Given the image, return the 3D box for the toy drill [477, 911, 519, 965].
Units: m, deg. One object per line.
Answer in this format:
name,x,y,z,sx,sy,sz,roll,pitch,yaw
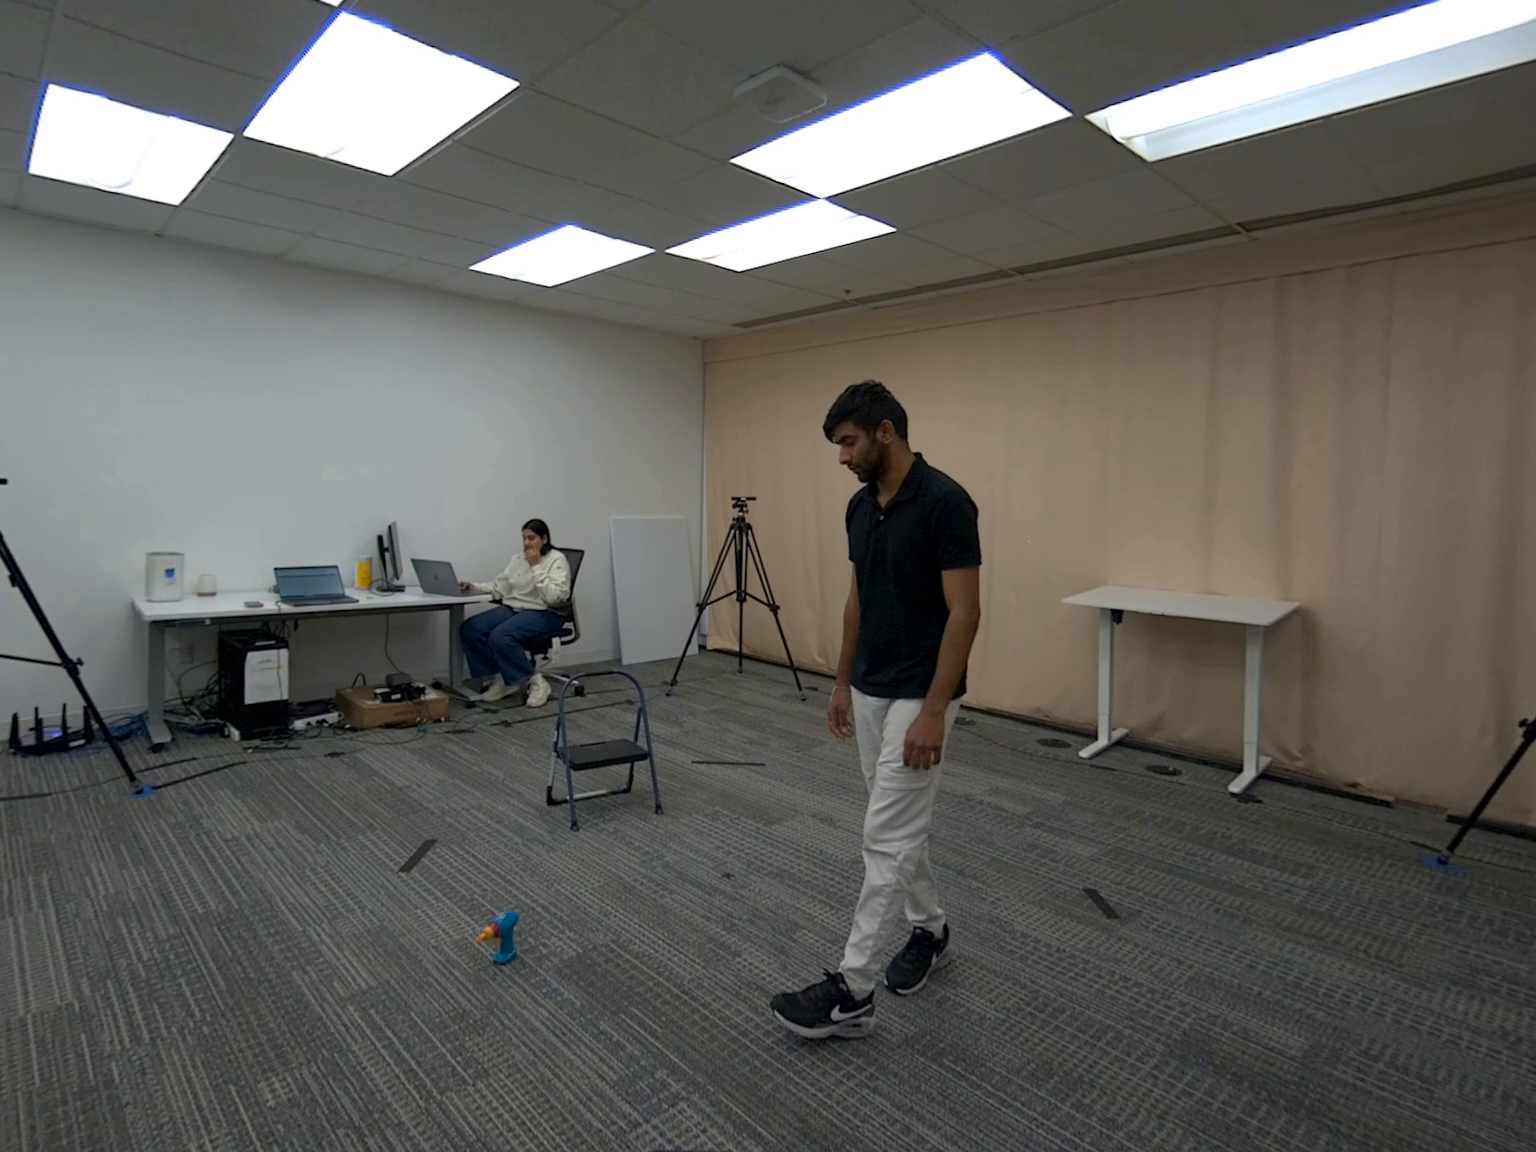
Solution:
toy drill,-0.801,1.077,2.474,0.062,0.146,0.167,3,4,21
